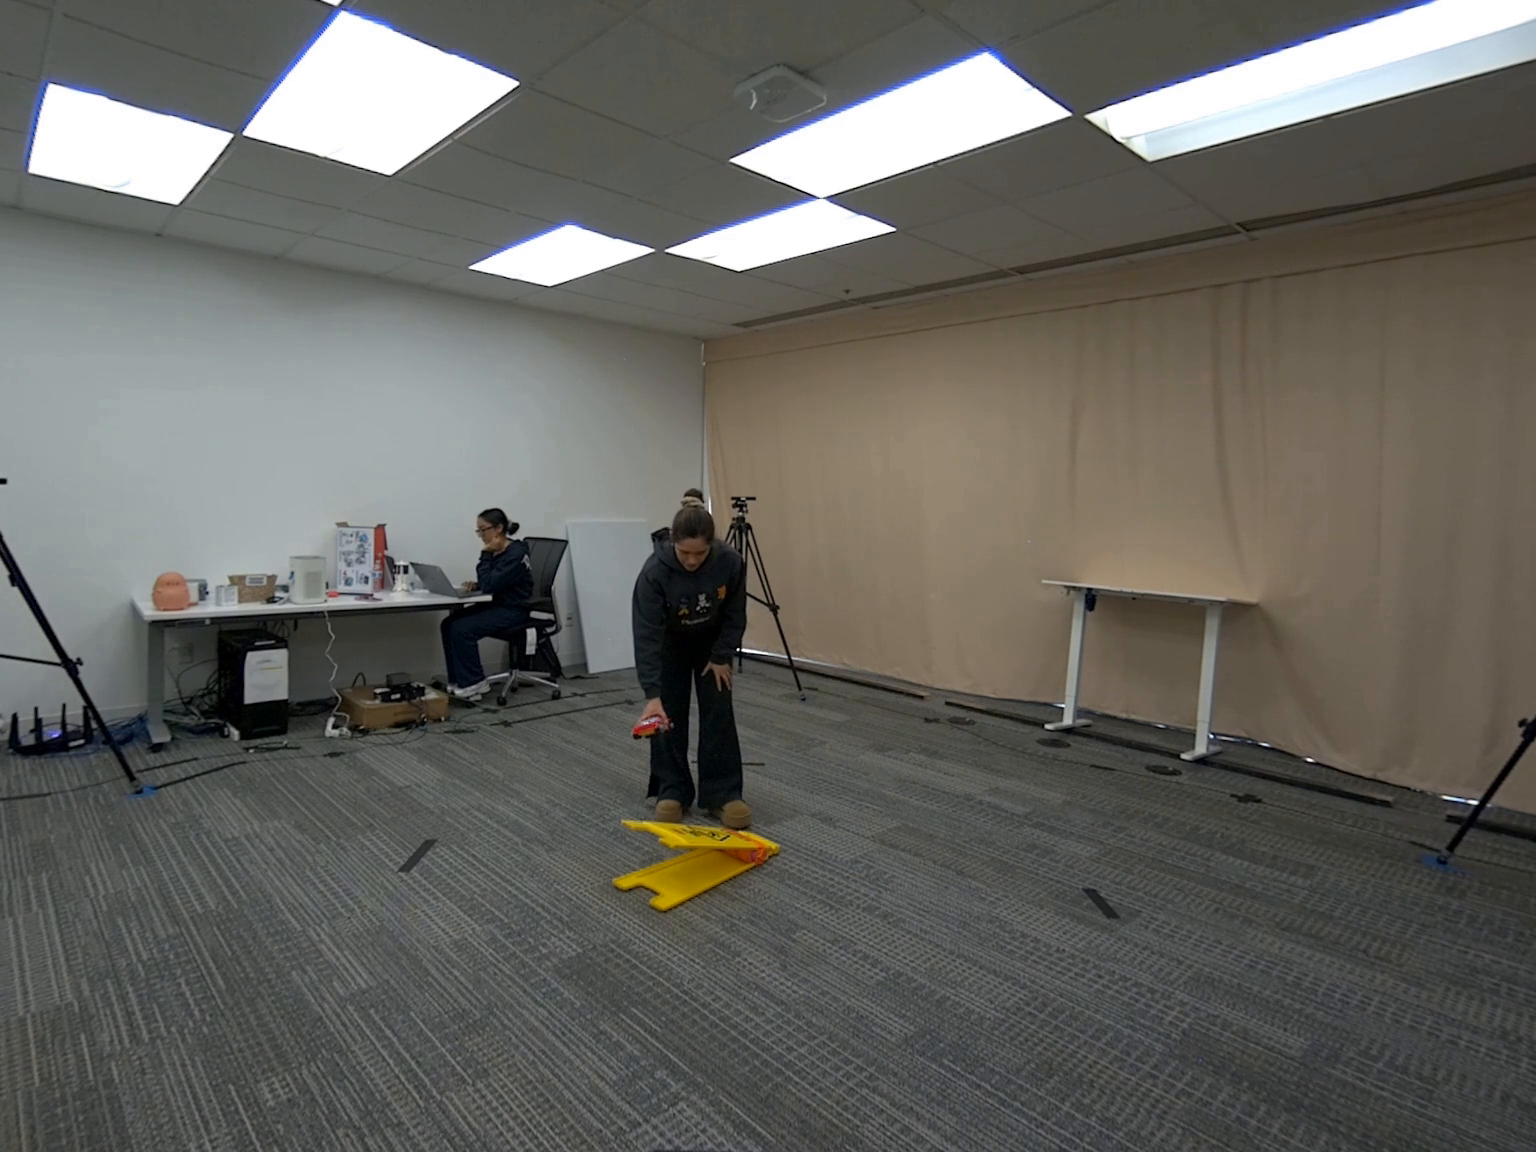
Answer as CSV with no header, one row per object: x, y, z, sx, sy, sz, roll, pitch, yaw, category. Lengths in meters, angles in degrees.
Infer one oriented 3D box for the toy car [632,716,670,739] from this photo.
-0.460,0.605,3.334,0.131,0.083,0.253,-14,0,7,toy car
